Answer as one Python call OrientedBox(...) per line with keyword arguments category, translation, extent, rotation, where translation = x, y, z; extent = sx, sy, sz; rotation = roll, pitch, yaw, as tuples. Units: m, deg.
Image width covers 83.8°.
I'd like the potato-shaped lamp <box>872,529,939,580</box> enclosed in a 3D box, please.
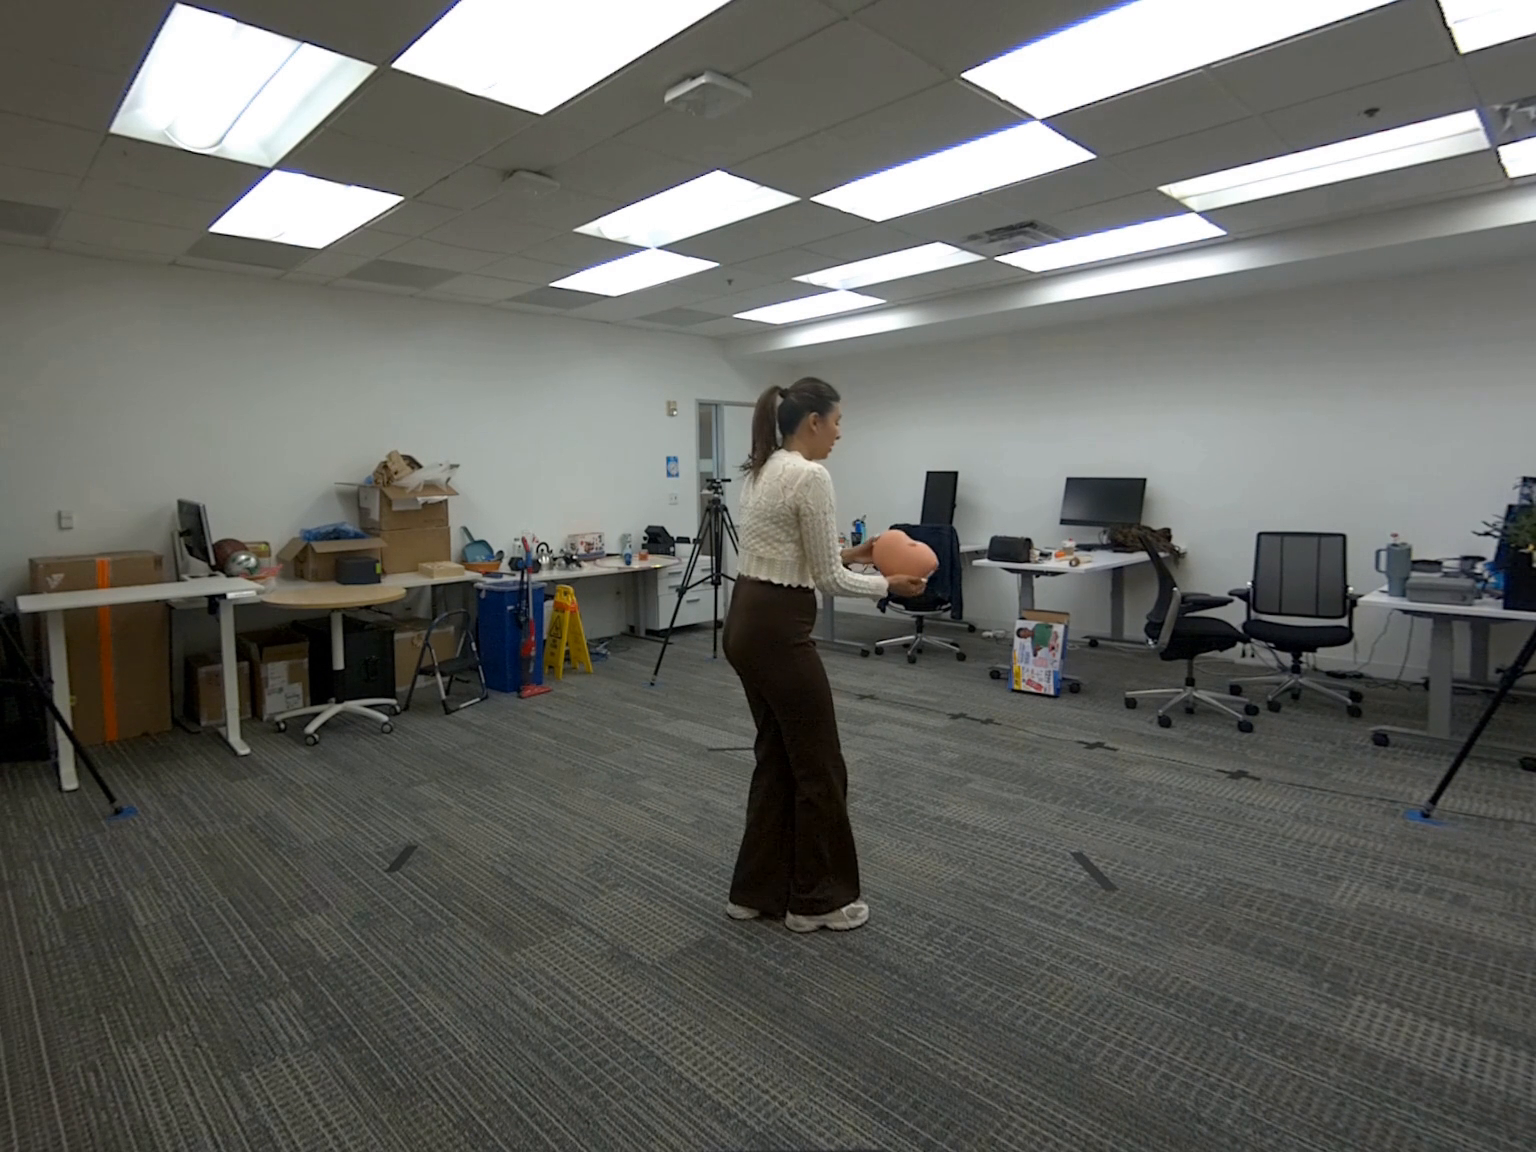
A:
OrientedBox(category="potato-shaped lamp", translation=(0.430, -0.054, 2.746), extent=(0.171, 0.201, 0.162), rotation=(-41, -10, 2))
